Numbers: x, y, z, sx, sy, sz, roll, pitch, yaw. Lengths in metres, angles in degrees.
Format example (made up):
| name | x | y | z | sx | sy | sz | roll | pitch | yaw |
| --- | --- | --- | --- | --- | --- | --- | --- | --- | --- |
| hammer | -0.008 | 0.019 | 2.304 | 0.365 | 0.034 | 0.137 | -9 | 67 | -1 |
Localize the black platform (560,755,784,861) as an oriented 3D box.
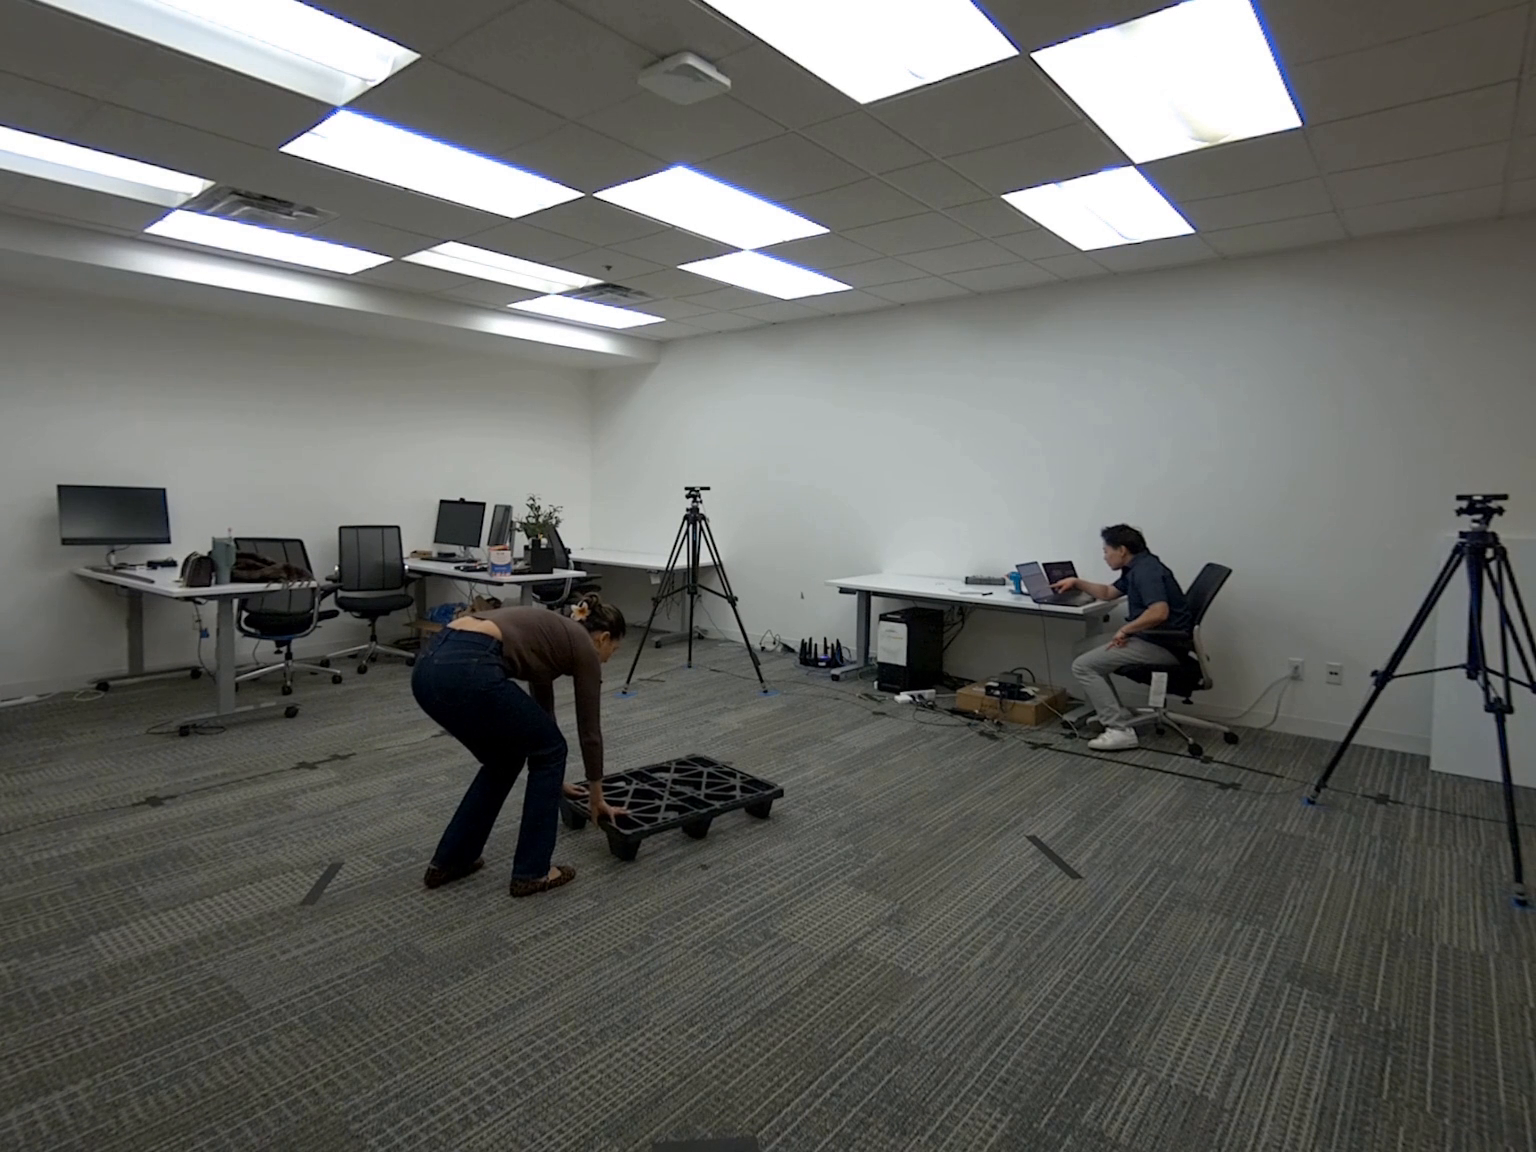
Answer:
| name | x | y | z | sx | sy | sz | roll | pitch | yaw |
| --- | --- | --- | --- | --- | --- | --- | --- | --- | --- |
| black platform | -0.435 | 0.950 | 3.561 | 0.781 | 0.143 | 0.625 | -4 | 7 | -41 |
